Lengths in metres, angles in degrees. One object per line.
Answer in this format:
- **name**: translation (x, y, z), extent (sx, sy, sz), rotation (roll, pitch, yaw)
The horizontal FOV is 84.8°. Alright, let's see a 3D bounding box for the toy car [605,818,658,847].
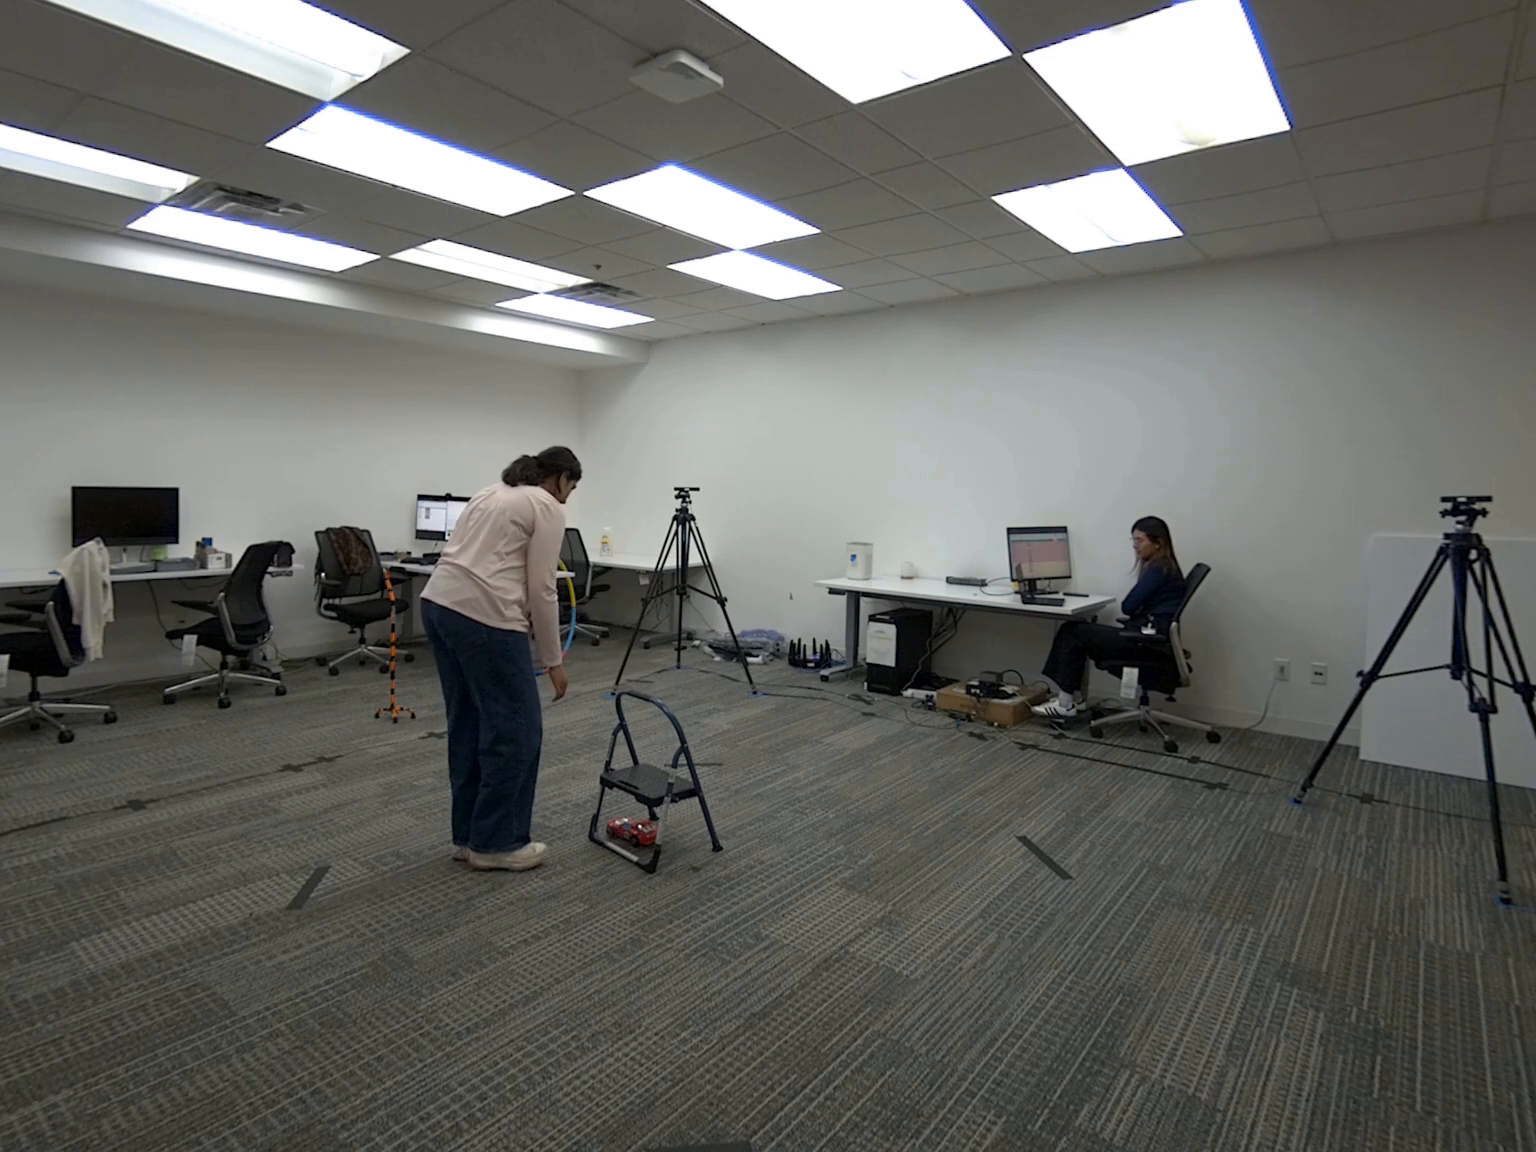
- **toy car**: translation (-0.531, 1.006, 3.347), extent (0.261, 0.083, 0.126), rotation (-7, -2, 40)
